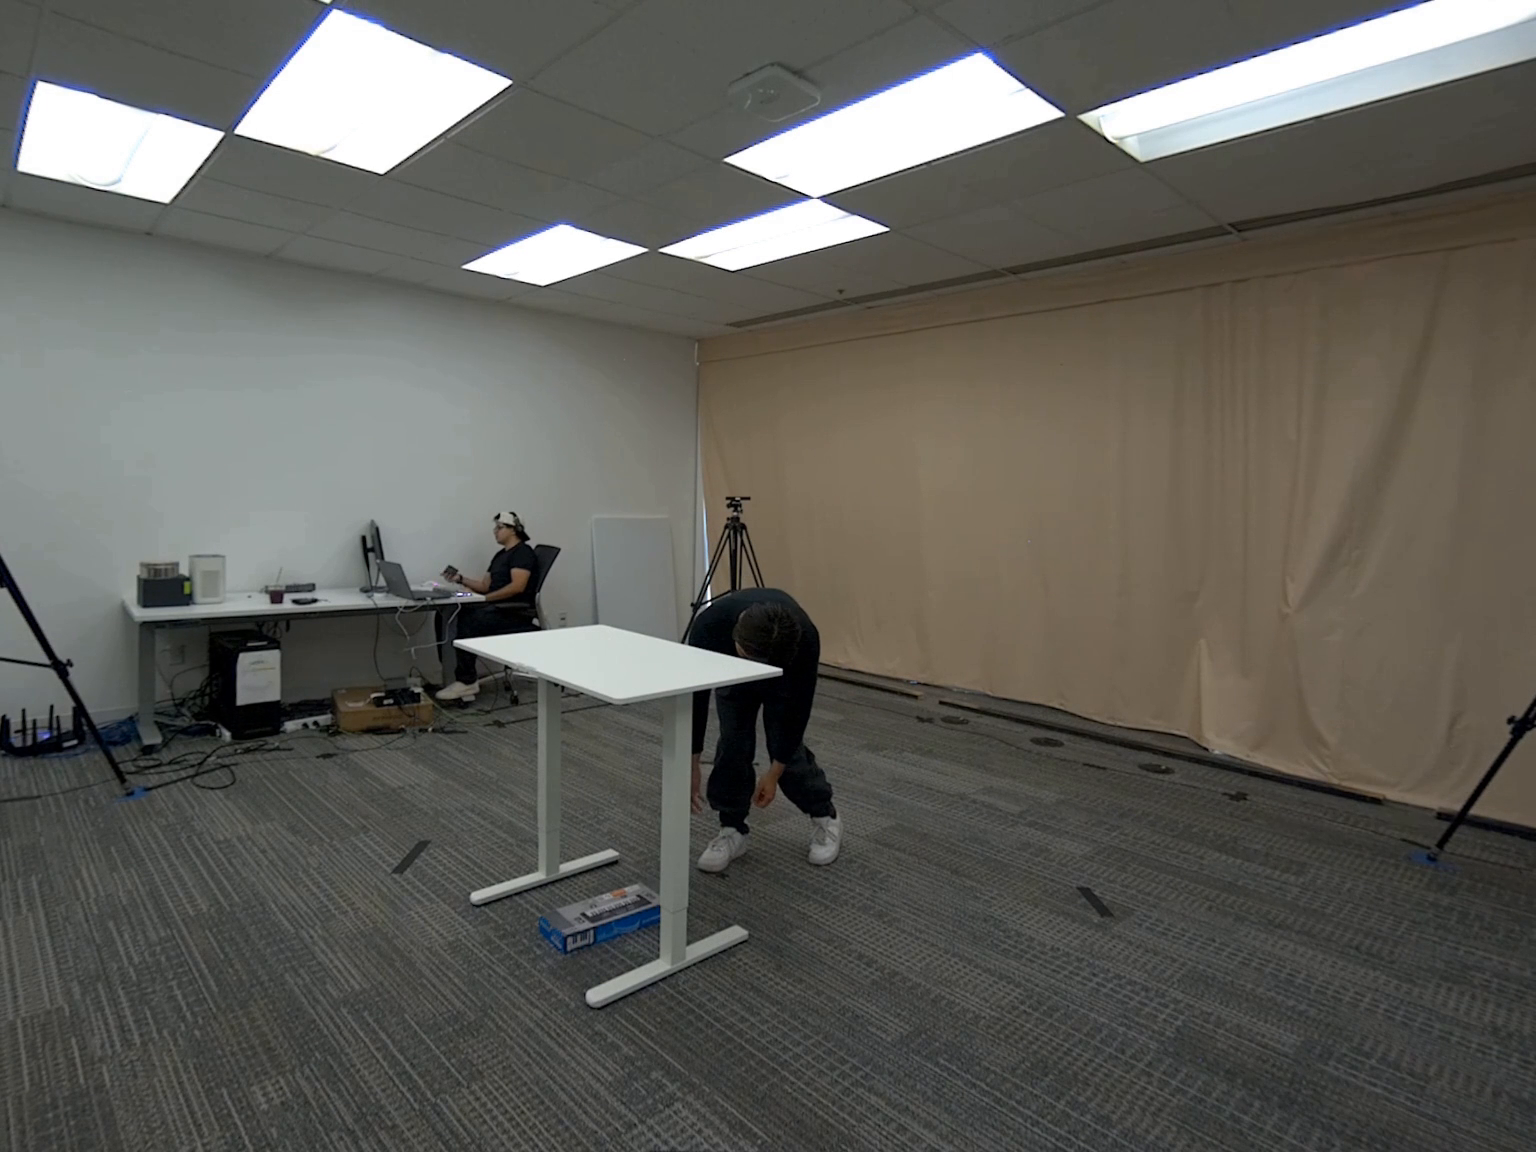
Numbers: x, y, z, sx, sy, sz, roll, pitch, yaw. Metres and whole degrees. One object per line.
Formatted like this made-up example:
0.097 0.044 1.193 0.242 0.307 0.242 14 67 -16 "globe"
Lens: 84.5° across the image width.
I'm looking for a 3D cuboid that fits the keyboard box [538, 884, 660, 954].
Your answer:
-0.513 1.103 2.742 0.427 0.059 0.180 -3 6 -39 "keyboard box"
